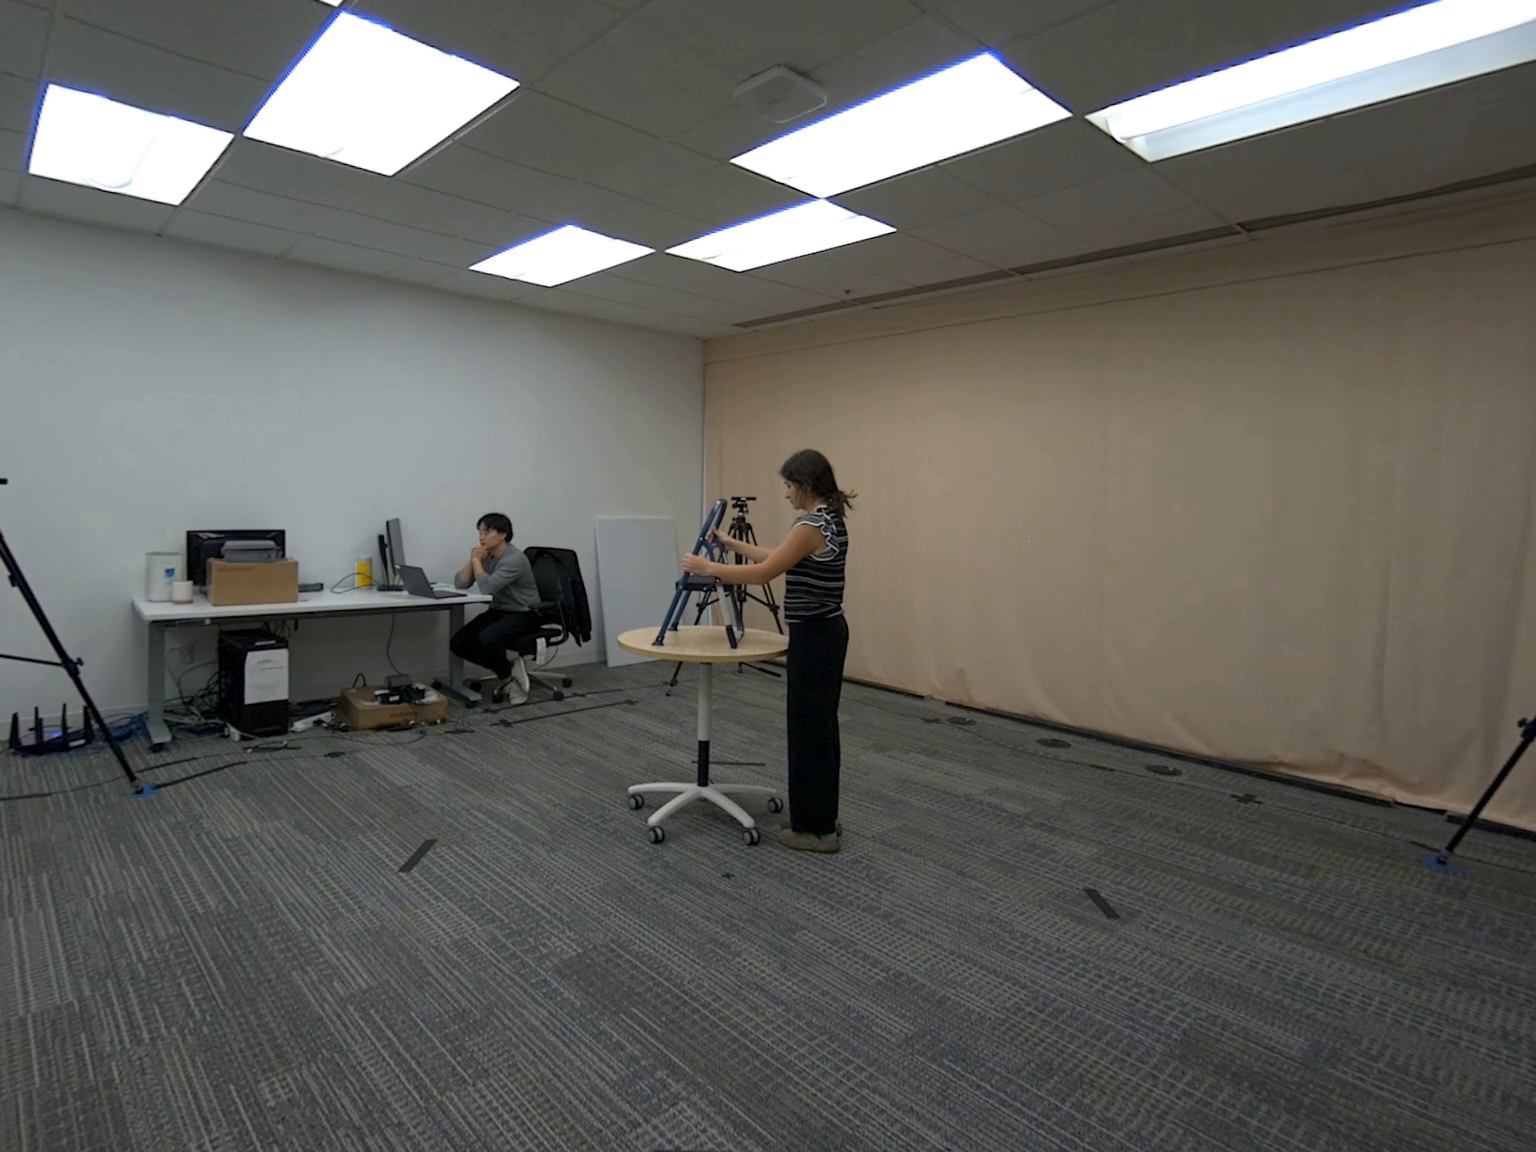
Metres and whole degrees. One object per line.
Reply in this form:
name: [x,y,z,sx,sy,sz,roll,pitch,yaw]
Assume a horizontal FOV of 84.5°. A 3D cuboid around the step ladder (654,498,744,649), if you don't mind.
step ladder: [-0.288,-0.023,3.629,0.350,0.603,0.431,3,6,3]
